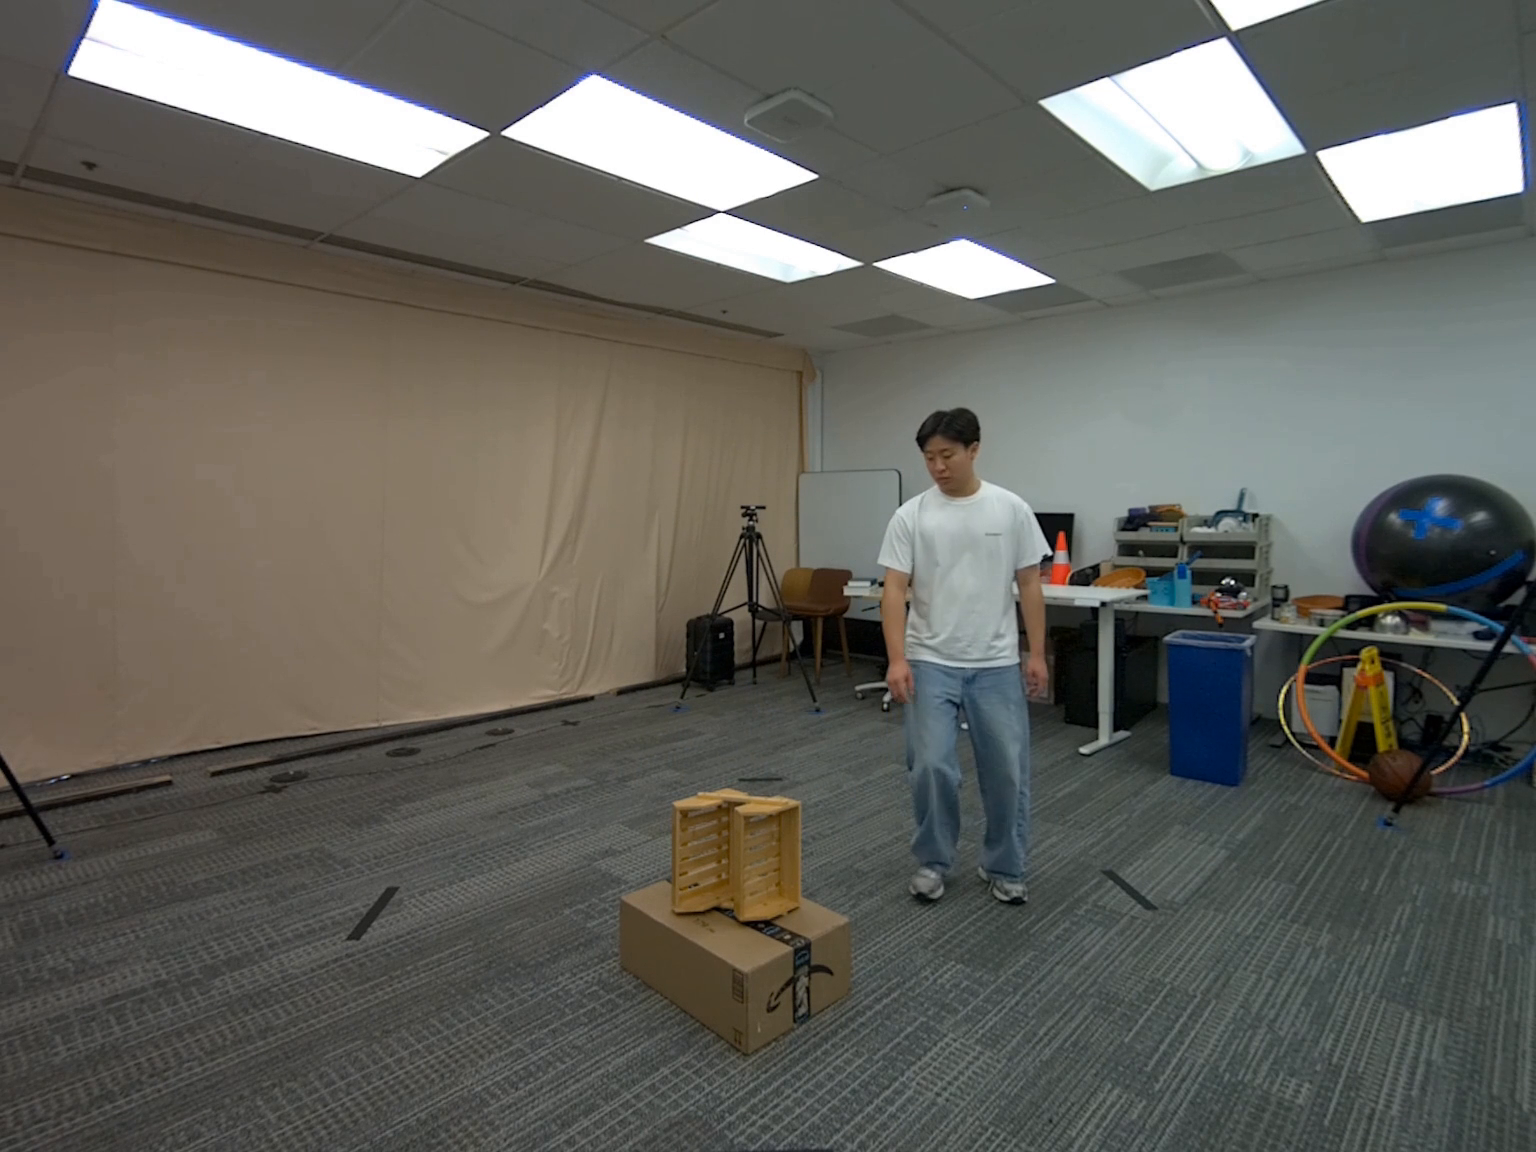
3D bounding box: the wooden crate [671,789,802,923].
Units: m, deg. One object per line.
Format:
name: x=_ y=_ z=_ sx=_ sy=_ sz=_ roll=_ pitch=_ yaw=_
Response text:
wooden crate: x=-0.093 y=0.814 z=2.458 sx=0.282 sy=0.325 sz=0.292 roll=-1 pitch=-1 yaw=44
